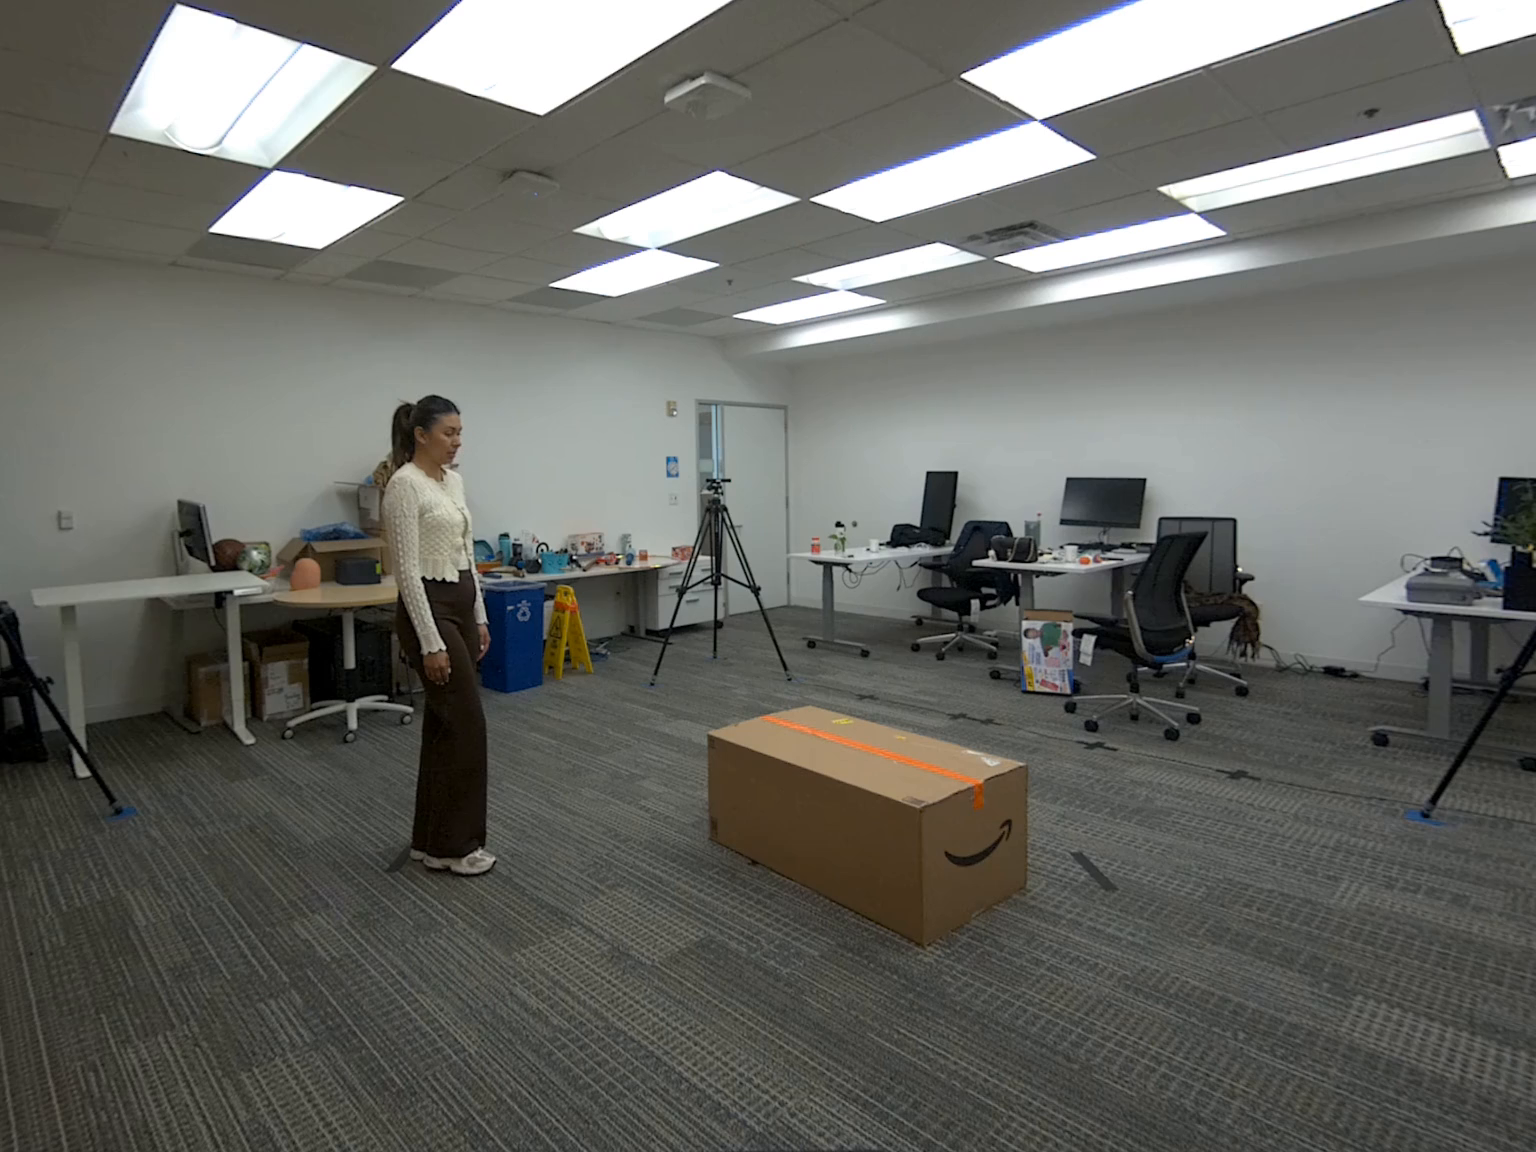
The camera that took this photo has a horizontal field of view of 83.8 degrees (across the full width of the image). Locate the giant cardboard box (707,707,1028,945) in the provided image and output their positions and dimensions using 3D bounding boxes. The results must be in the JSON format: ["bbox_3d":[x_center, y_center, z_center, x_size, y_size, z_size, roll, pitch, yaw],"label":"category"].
[{"bbox_3d":[0.321,0.822,3.088,0.562,0.424,1.058,-5,7,-41],"label":"giant cardboard box"}]
